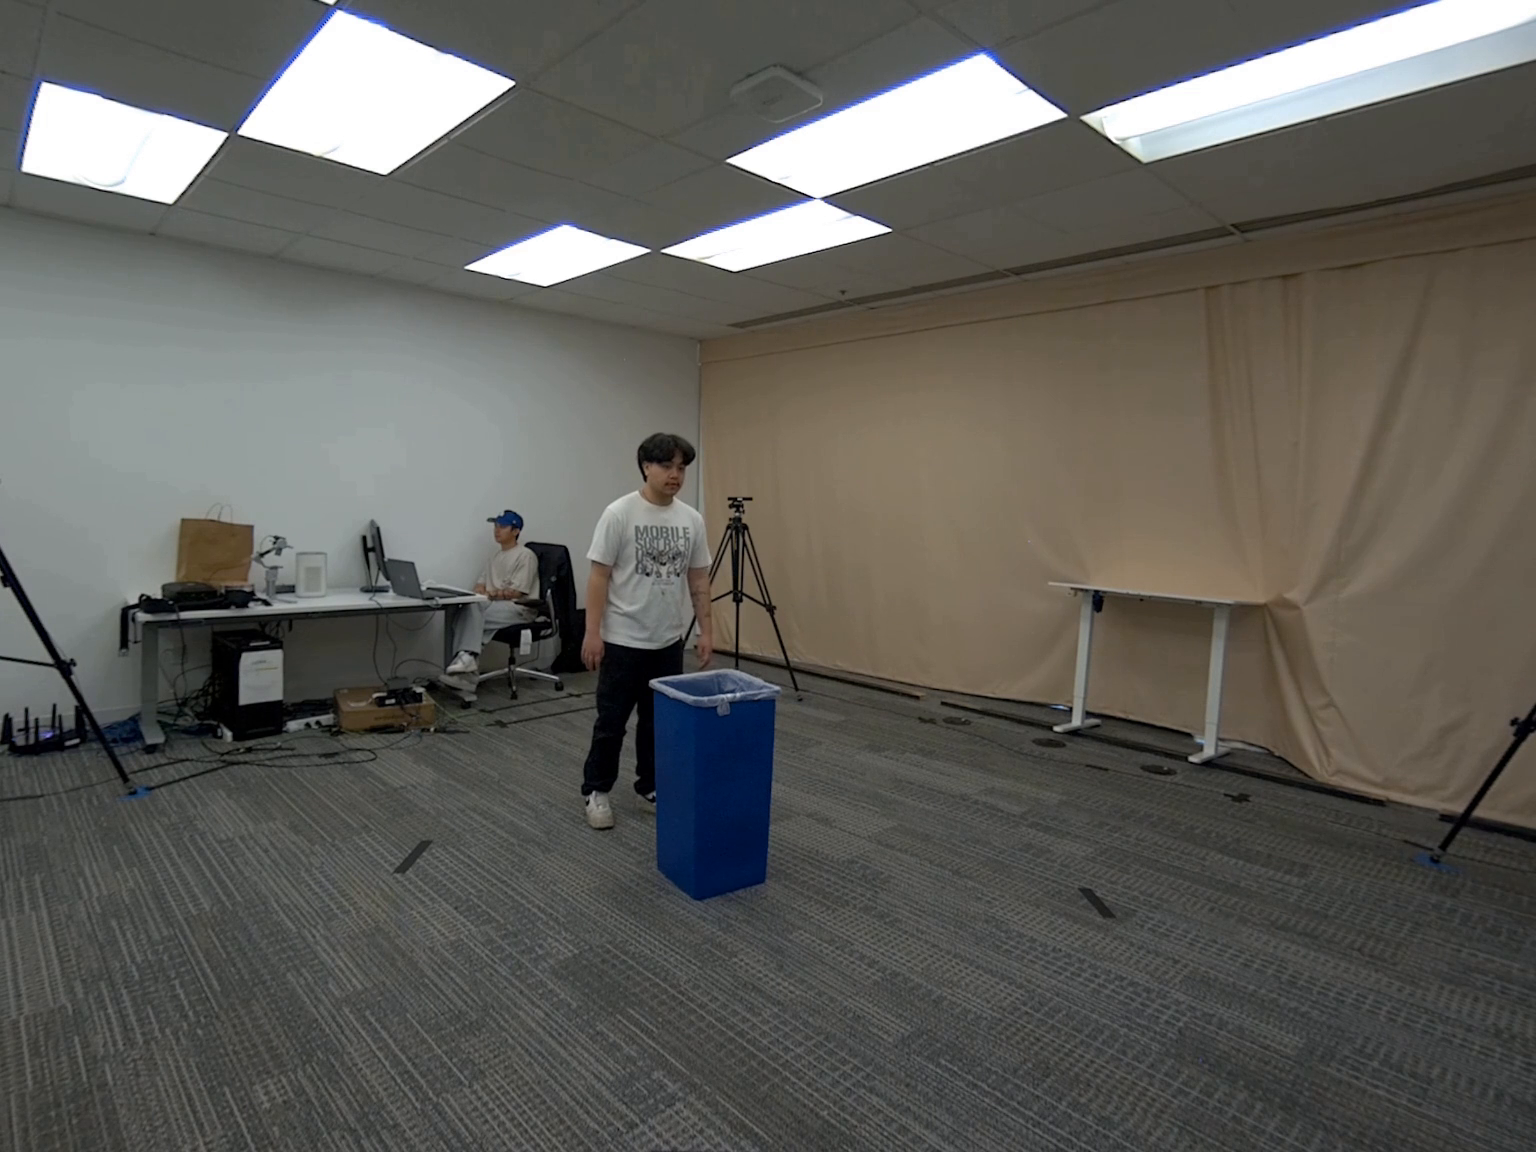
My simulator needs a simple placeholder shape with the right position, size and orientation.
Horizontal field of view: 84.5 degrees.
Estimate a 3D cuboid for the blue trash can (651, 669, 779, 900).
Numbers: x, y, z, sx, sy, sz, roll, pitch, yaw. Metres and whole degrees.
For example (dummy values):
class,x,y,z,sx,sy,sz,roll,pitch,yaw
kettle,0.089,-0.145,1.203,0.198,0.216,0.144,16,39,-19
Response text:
class,x,y,z,sx,sy,sz,roll,pitch,yaw
blue trash can,-0.215,0.748,3.096,0.370,0.712,0.383,-1,4,-34
